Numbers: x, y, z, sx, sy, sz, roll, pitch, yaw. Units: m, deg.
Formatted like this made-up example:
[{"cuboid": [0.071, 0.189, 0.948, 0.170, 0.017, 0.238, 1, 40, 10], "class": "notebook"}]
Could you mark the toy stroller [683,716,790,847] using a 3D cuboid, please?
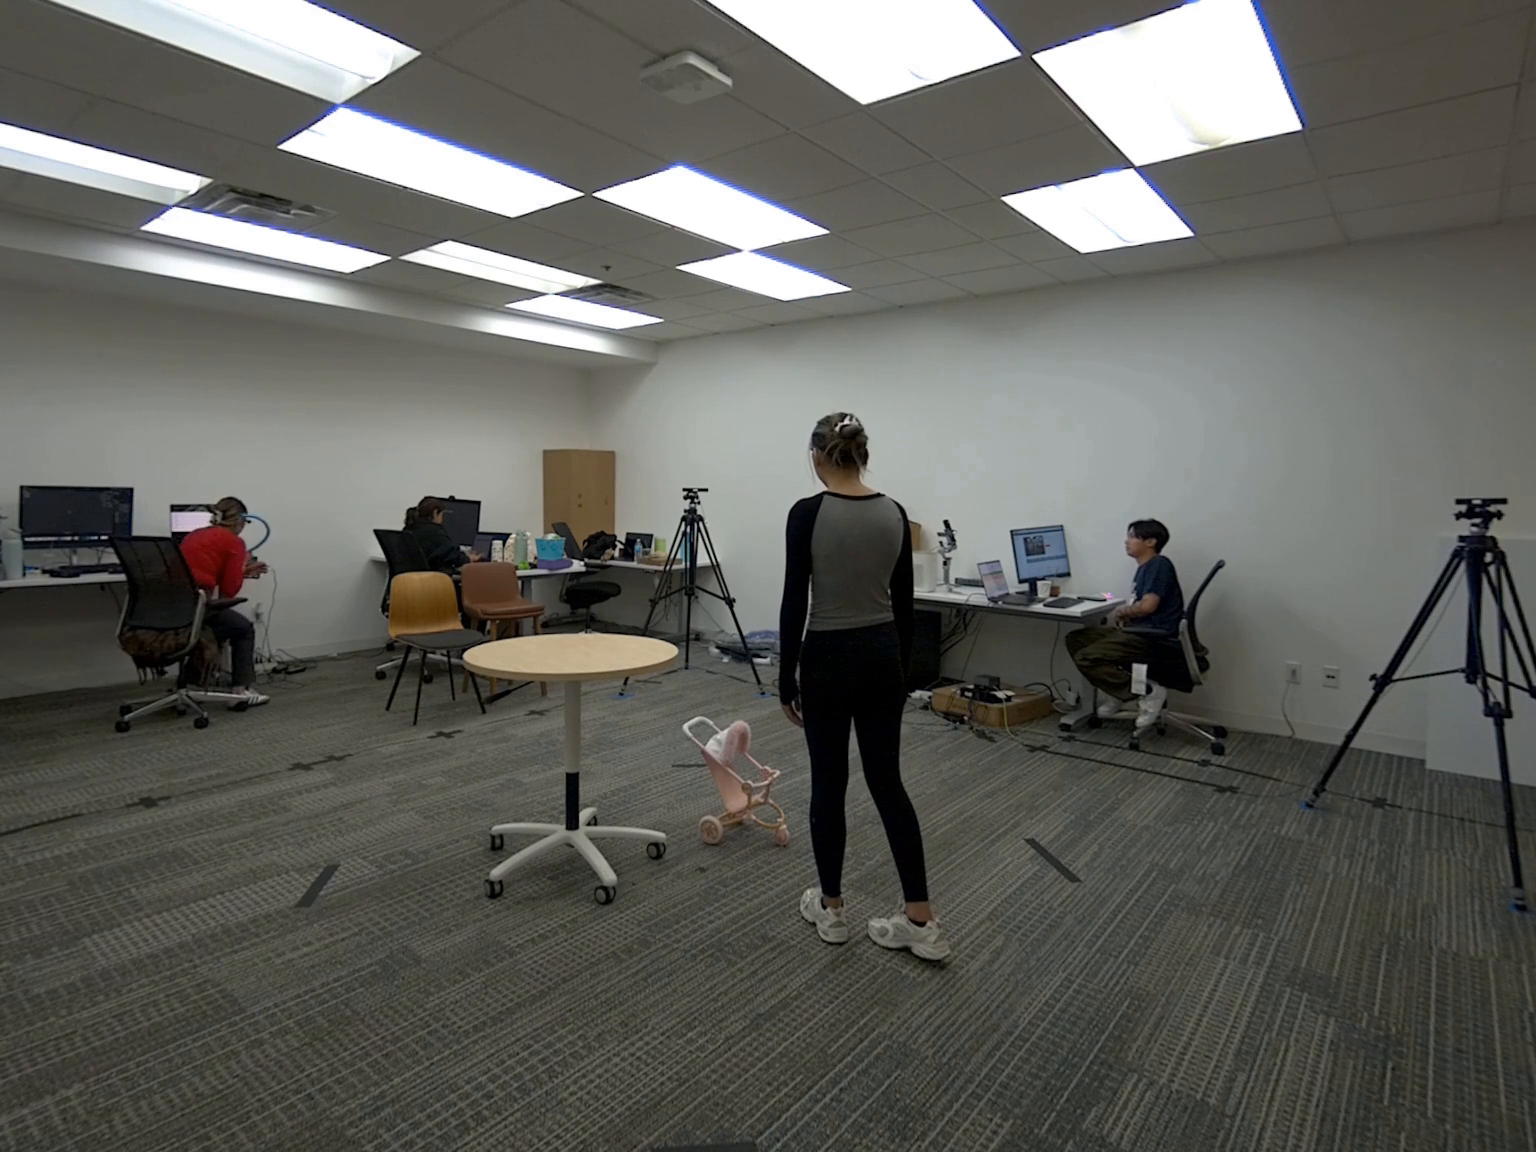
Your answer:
[{"cuboid": [-0.123, 0.816, 3.406, 0.348, 0.537, 0.275, -14, -4, 28], "class": "toy stroller"}]
